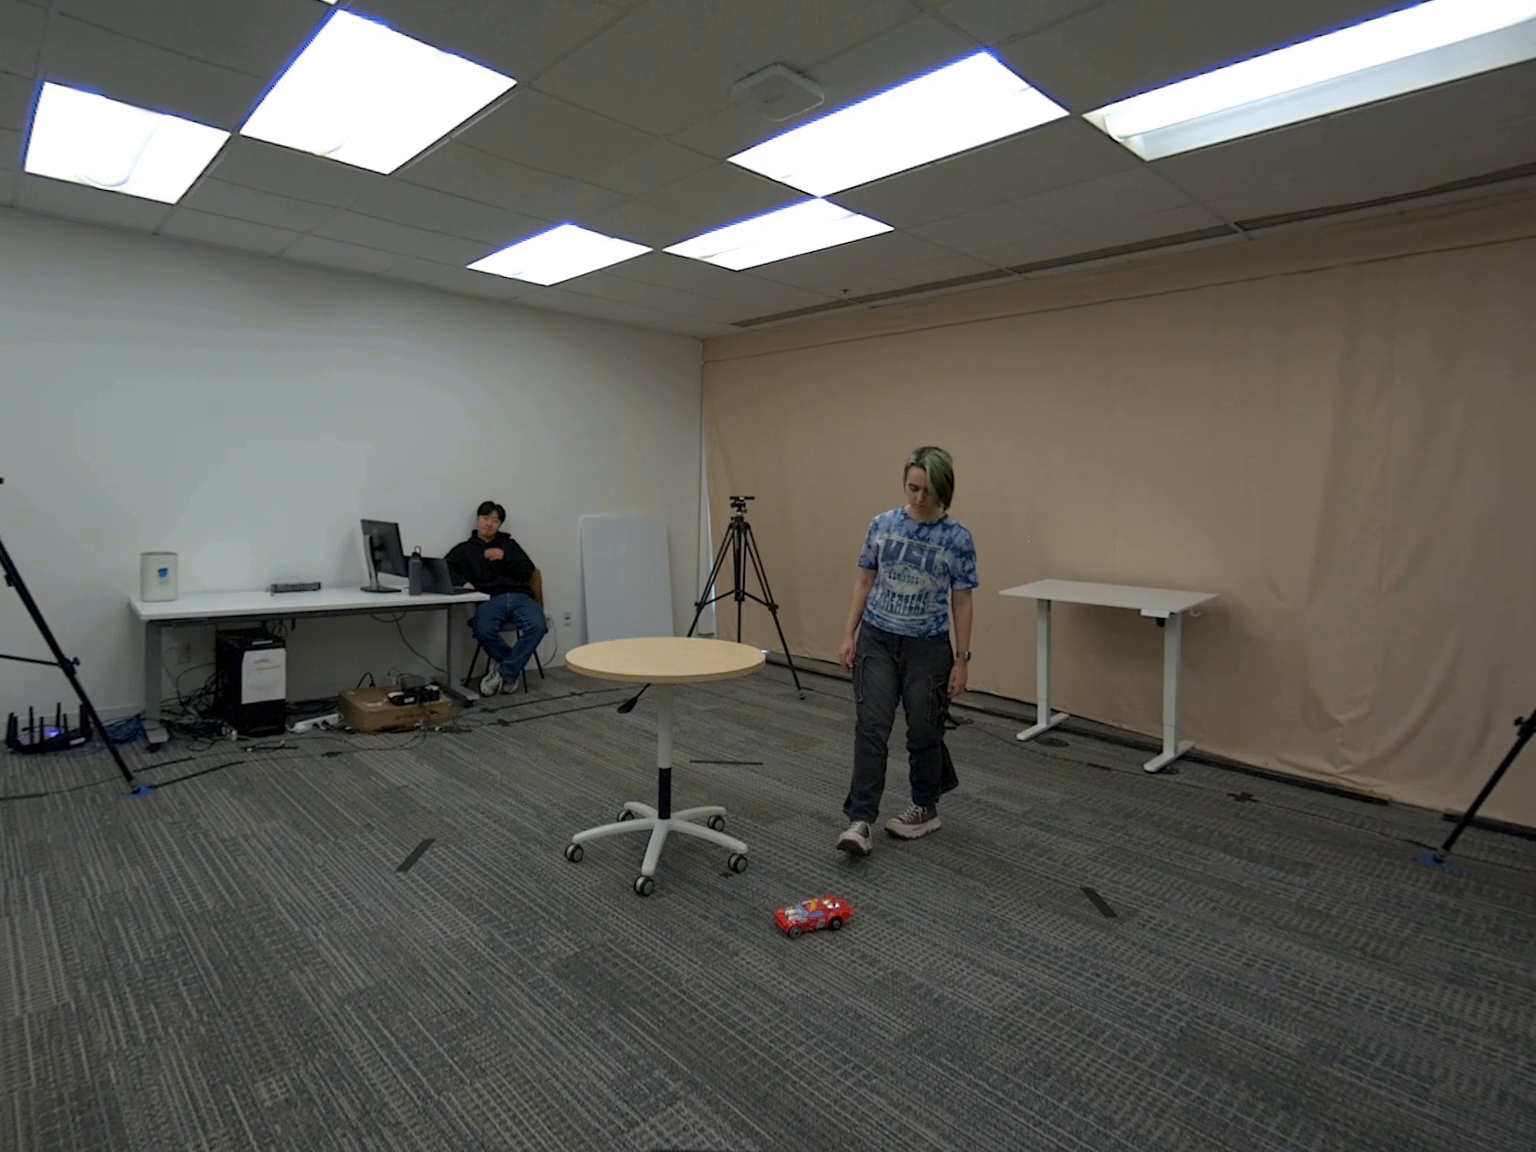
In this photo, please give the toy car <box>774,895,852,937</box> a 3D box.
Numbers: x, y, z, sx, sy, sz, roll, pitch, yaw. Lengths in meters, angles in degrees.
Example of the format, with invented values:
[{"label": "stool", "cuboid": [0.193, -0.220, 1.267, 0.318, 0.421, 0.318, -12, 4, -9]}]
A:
[{"label": "toy car", "cuboid": [0.149, 1.108, 2.745, 0.251, 0.082, 0.133, -13, 11, -21]}]
